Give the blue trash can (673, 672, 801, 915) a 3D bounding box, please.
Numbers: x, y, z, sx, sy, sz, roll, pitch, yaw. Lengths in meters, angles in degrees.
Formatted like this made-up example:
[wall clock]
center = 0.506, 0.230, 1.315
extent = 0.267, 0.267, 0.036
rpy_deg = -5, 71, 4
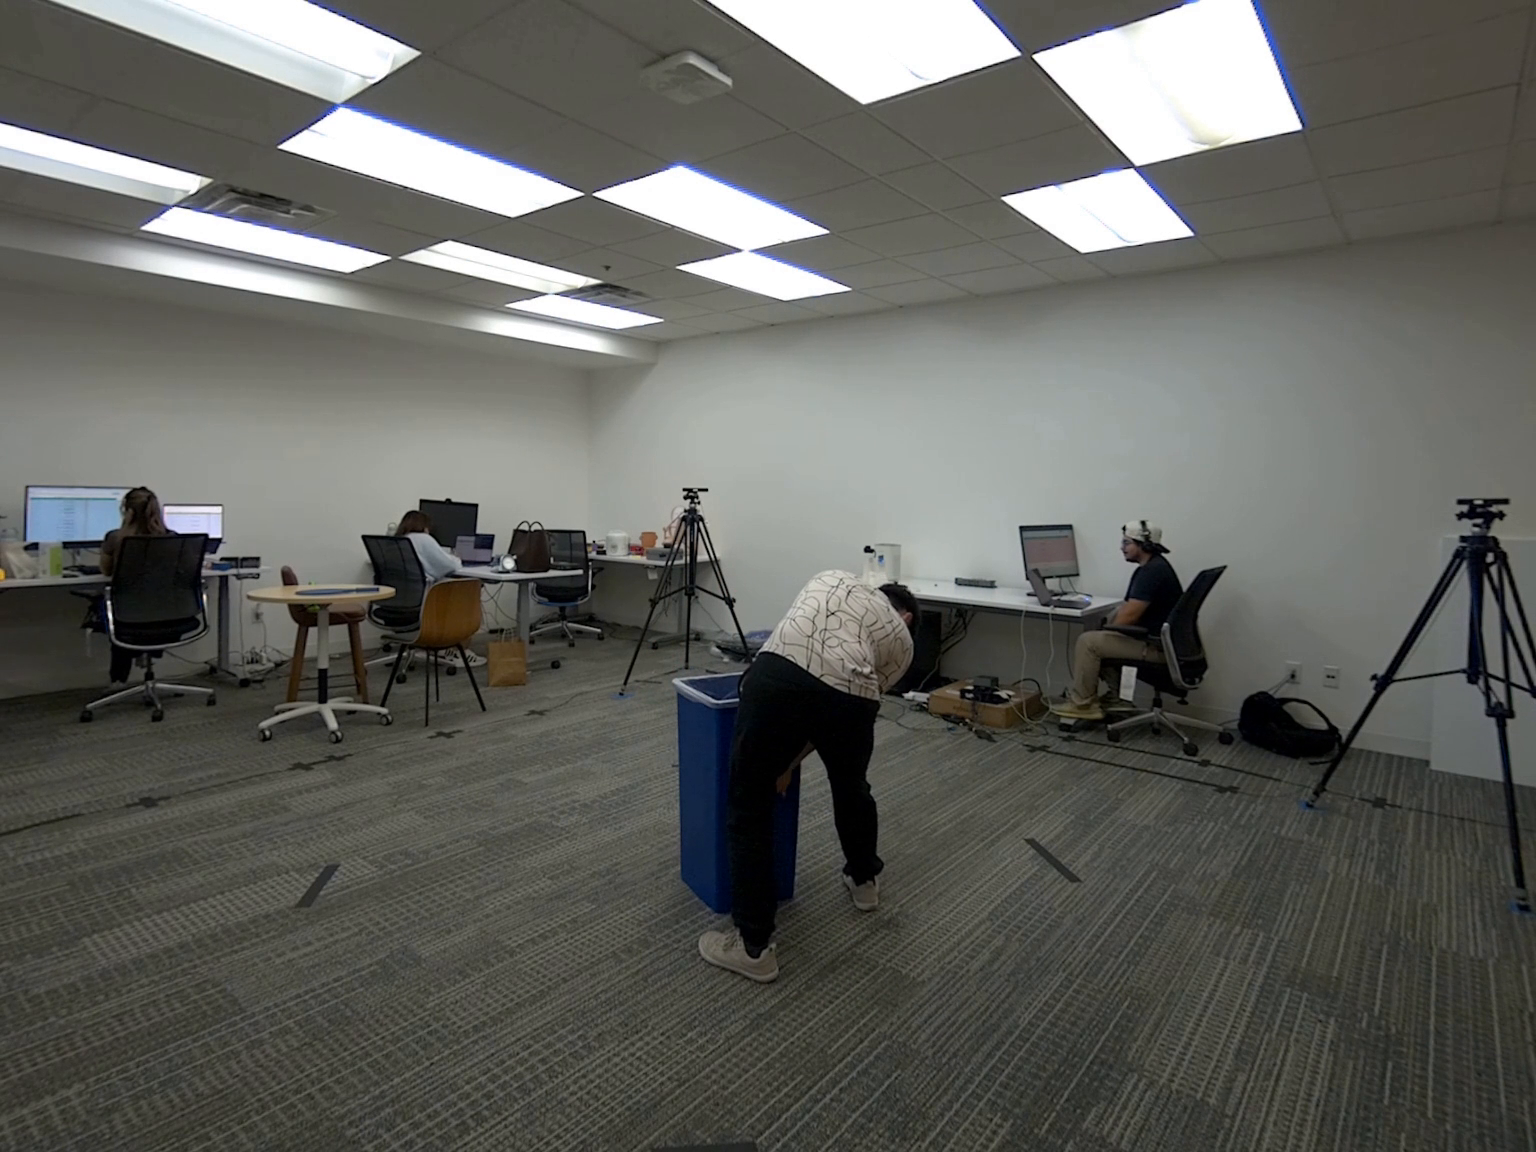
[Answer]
[blue trash can]
center = -0.123, 0.728, 2.957
extent = 0.368, 0.711, 0.385
rpy_deg = -1, 4, -30
